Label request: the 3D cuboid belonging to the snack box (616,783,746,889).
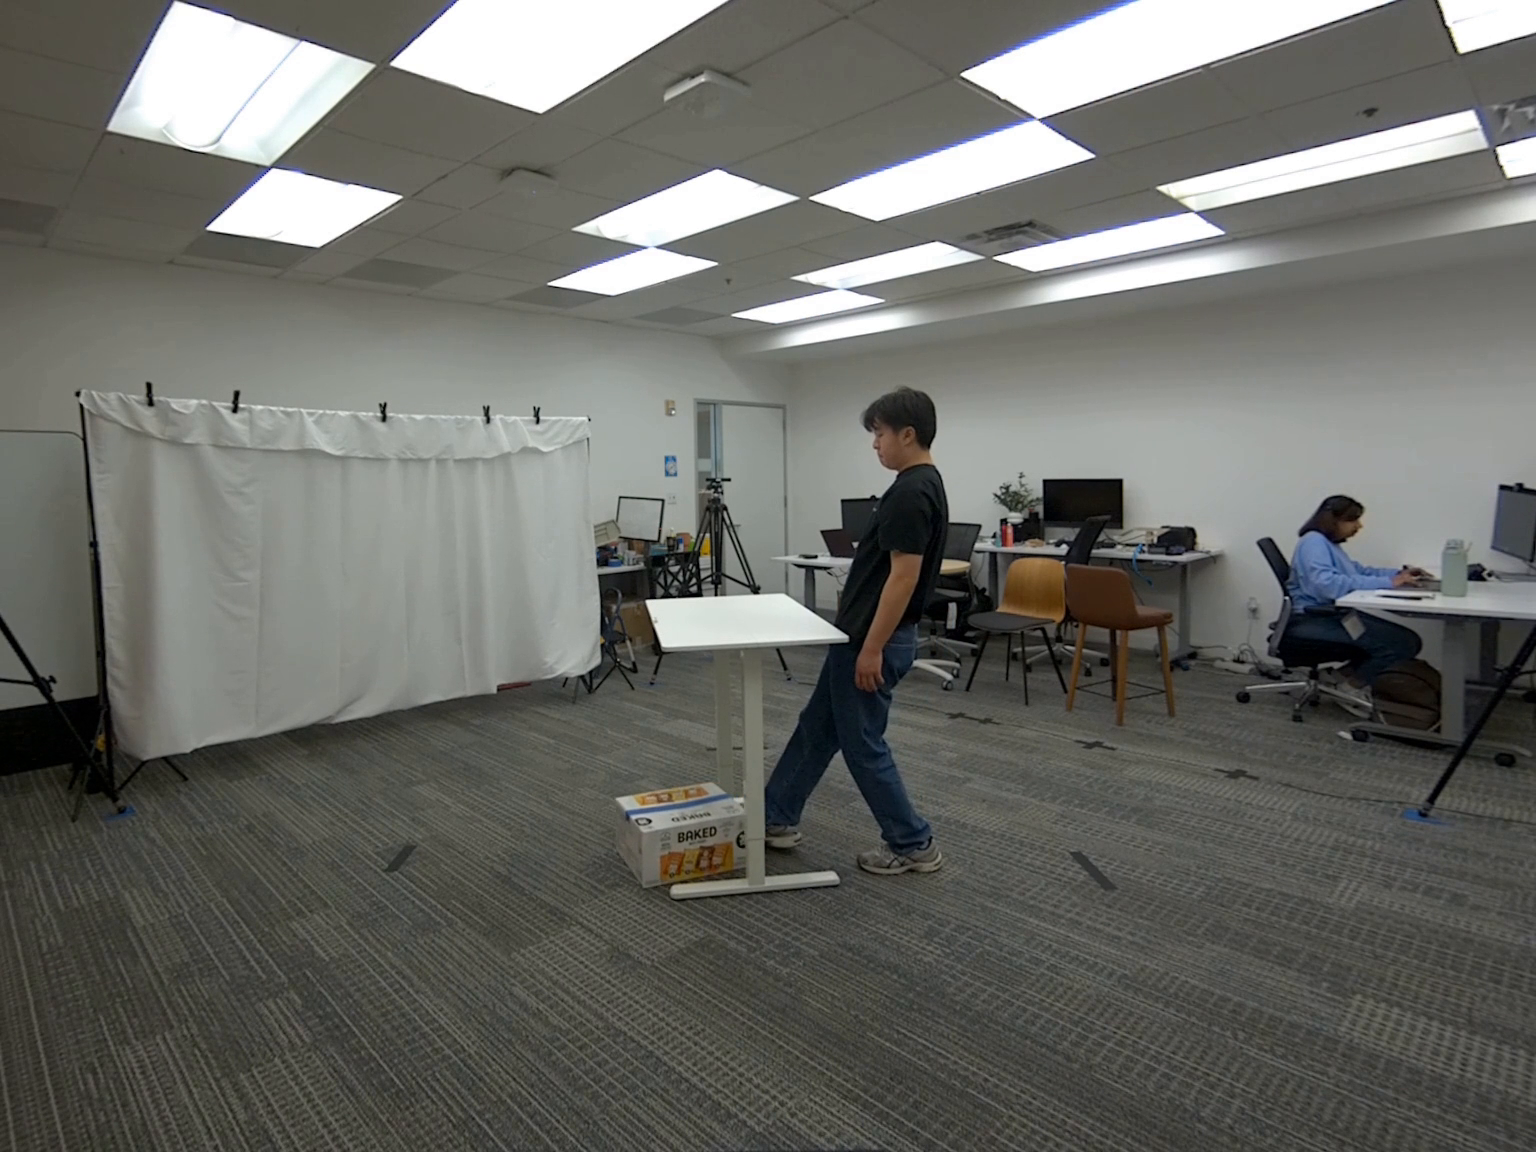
[{"bbox_3d":[-0.321,0.940,3.133,0.397,0.205,0.349,-3,6,-25],"label":"snack box"}]
